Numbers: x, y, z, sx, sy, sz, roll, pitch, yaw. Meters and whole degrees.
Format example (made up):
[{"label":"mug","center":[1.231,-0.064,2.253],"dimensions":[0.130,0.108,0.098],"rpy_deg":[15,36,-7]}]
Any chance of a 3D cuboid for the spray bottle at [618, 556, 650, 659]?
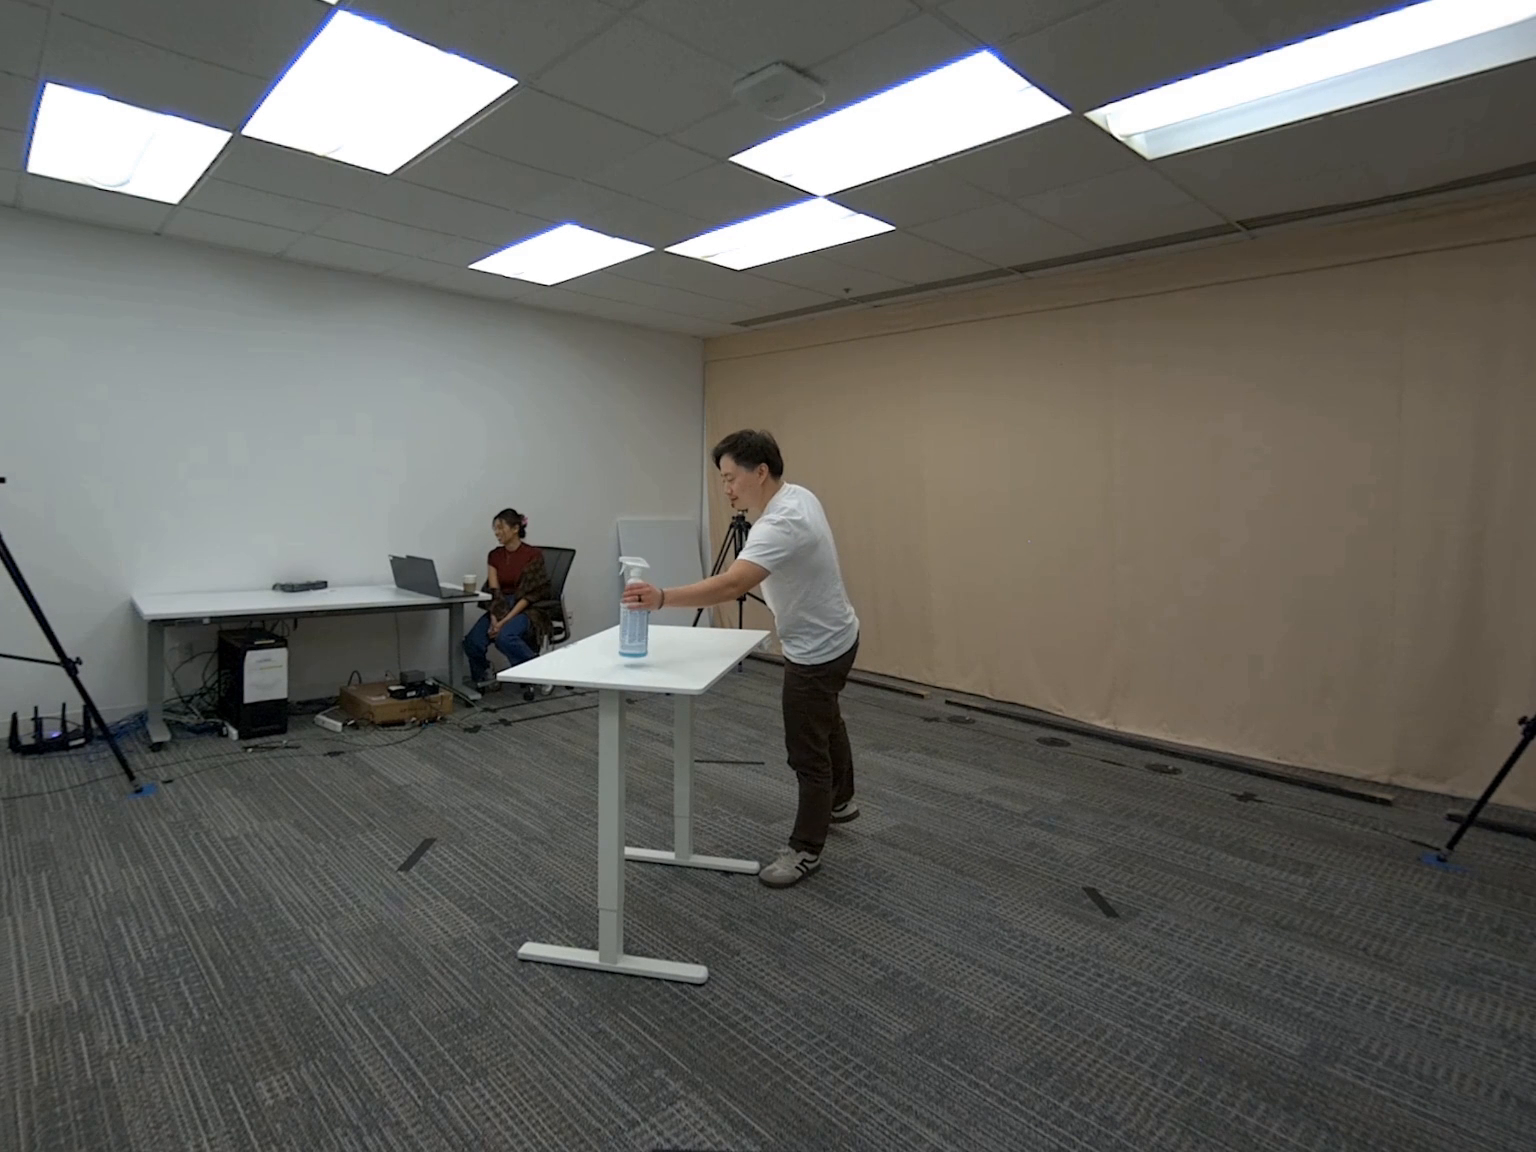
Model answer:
[{"label":"spray bottle","center":[-0.404,0.092,2.517],"dimensions":[0.091,0.297,0.086],"rpy_deg":[1,0,15]}]
